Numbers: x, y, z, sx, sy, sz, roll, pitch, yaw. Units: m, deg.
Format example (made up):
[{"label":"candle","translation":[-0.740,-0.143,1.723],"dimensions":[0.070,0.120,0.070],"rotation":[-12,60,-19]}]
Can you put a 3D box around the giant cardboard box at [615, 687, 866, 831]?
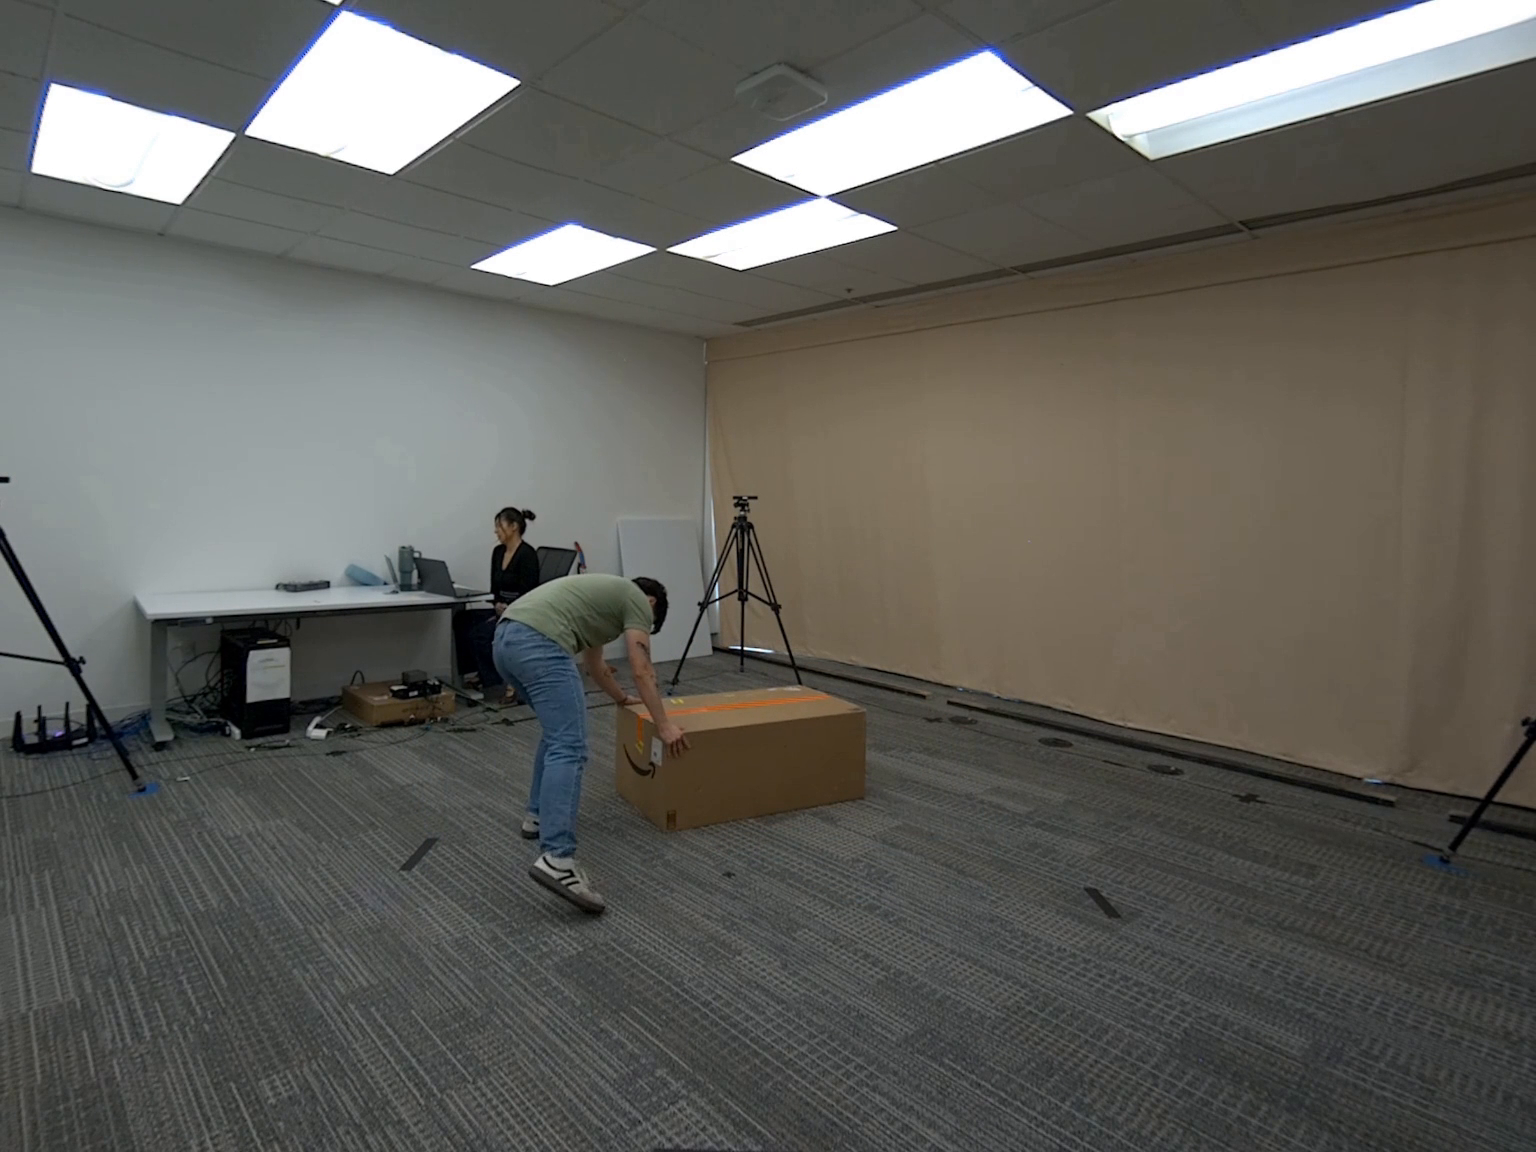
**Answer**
[{"label":"giant cardboard box","translation":[-0.136,0.815,3.950],"dimensions":[1.006,0.425,0.590],"rotation":[-2,5,-29]}]
